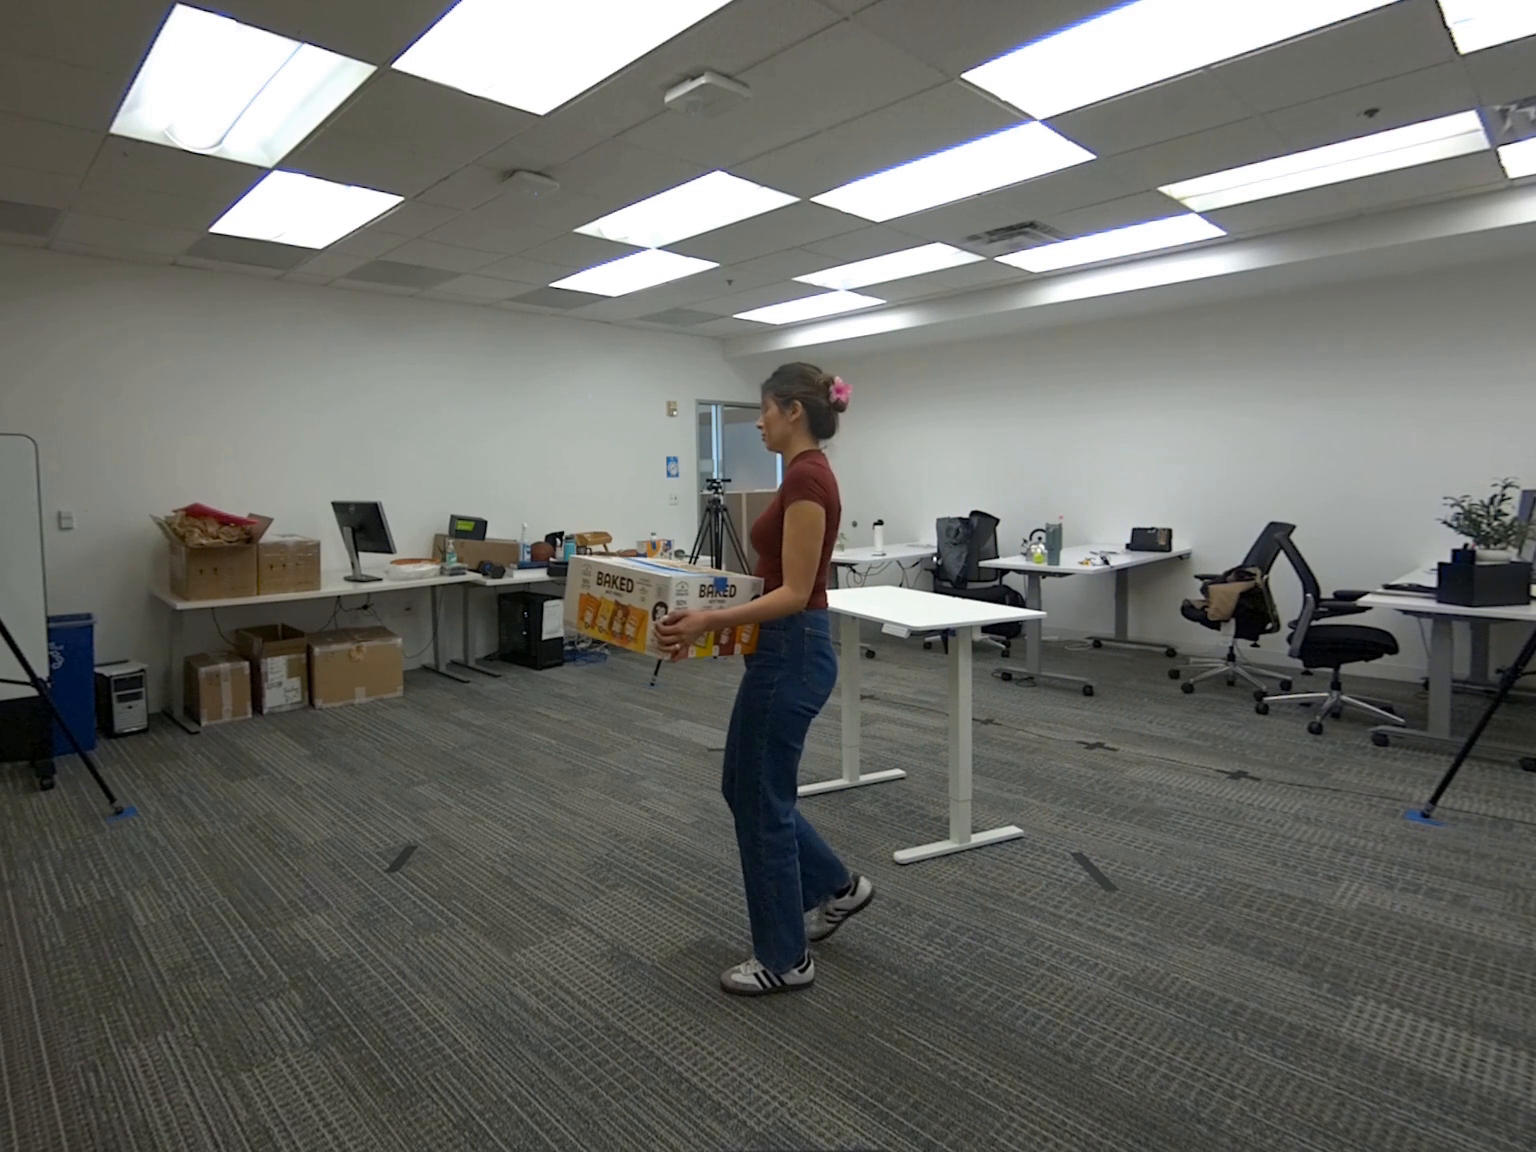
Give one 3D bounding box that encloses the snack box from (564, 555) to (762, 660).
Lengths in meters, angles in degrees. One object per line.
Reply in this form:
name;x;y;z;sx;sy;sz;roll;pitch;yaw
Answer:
snack box;-0.276;0.073;2.282;0.419;0.205;0.330;10;4;42
